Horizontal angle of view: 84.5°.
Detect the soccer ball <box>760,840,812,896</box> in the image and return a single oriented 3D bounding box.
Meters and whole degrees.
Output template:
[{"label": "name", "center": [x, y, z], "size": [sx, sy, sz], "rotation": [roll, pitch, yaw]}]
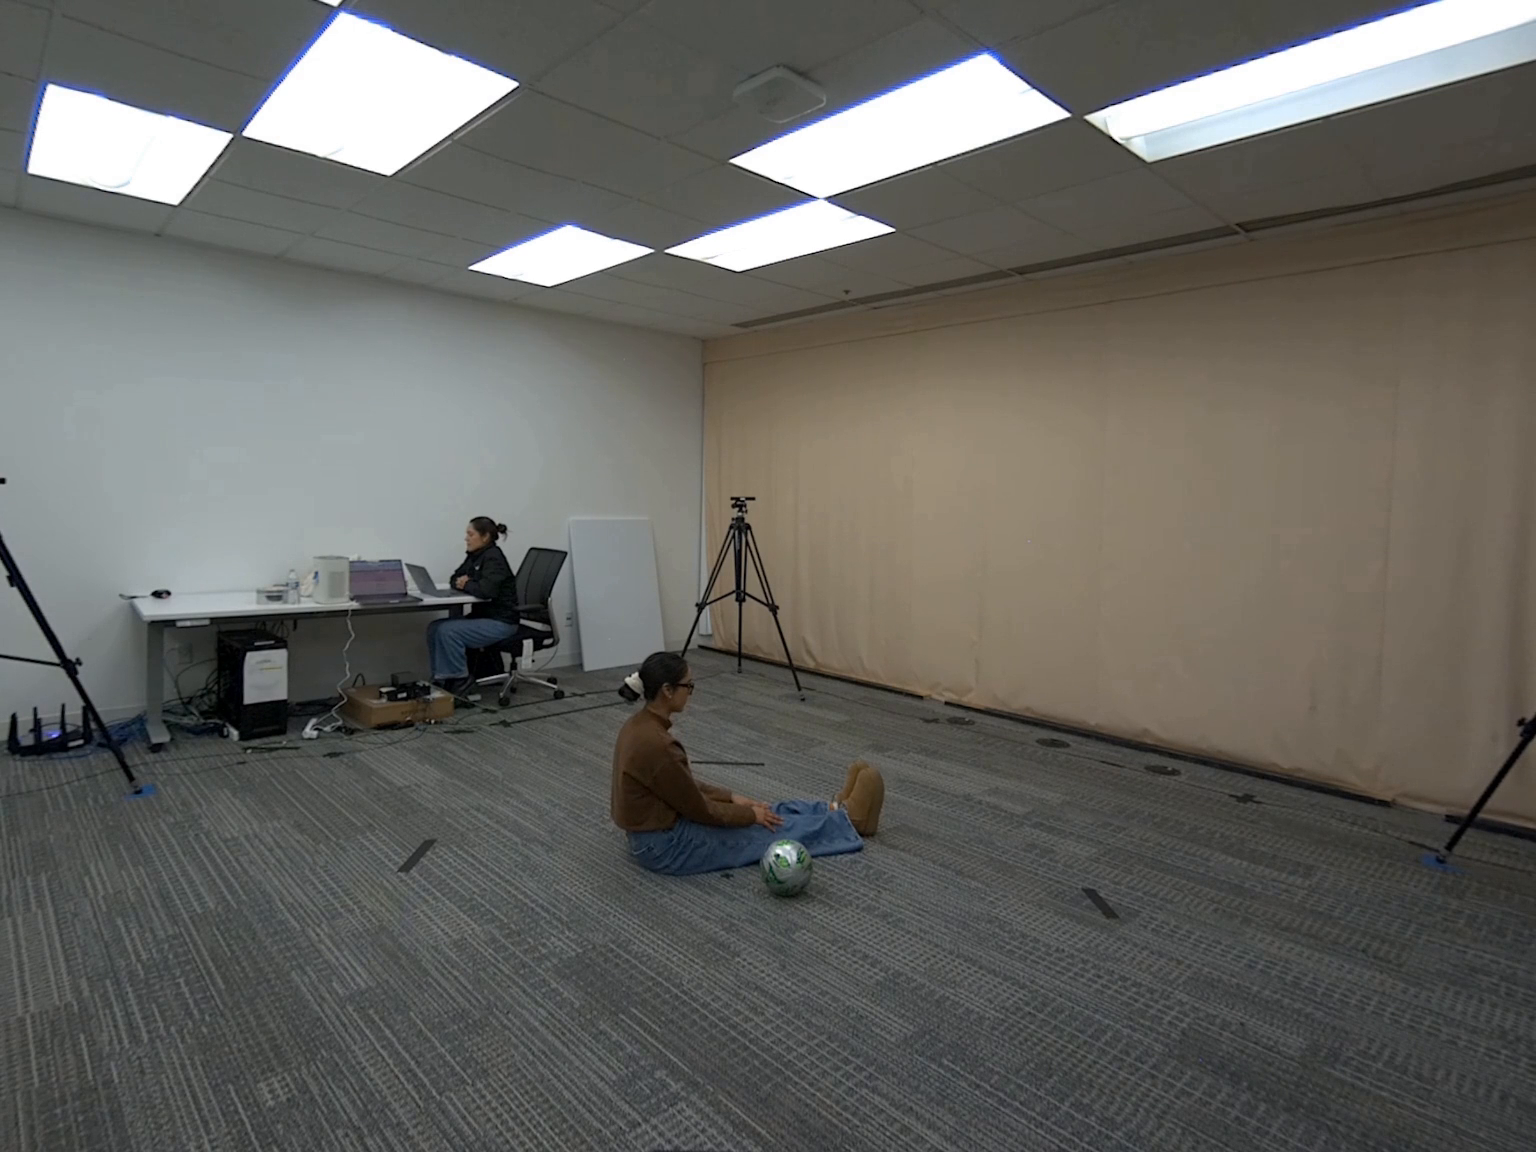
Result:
[{"label": "soccer ball", "center": [0.062, 1.033, 2.973], "size": [0.187, 0.187, 0.188], "rotation": [1, 4, -1]}]
